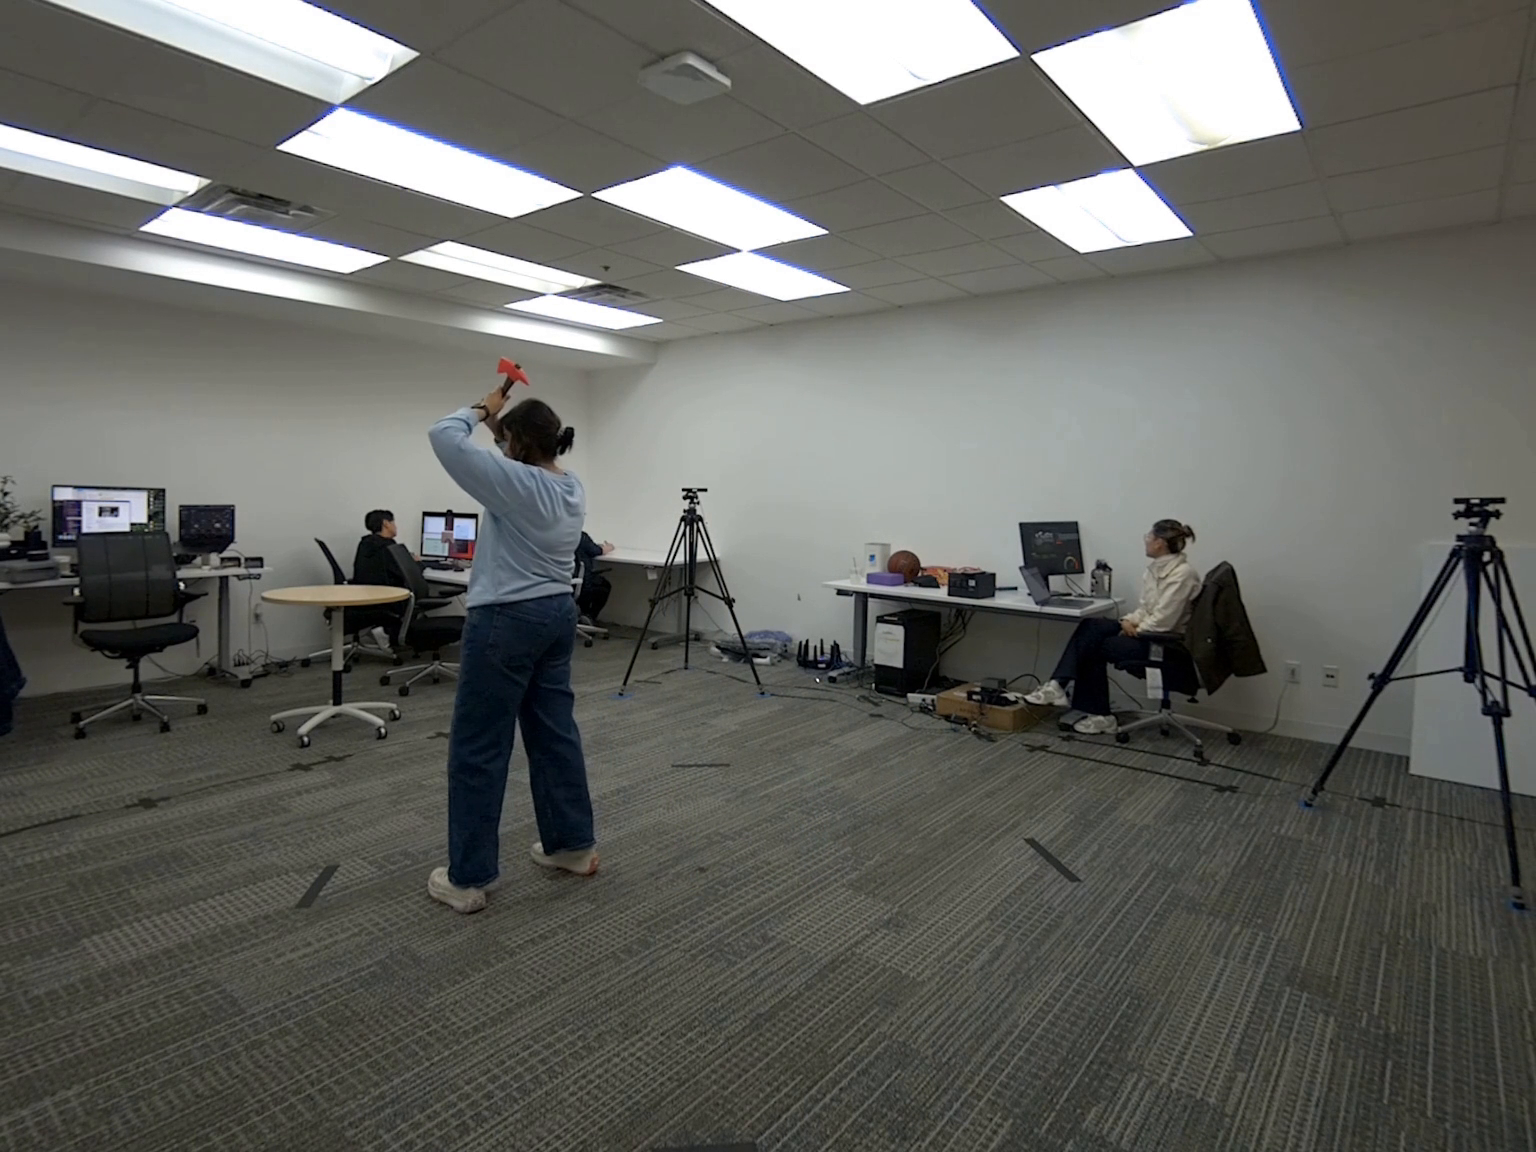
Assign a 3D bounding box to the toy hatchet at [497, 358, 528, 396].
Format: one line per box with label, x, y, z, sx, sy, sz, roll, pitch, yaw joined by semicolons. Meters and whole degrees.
toy hatchet;-0.965;-0.666;2.953;0.274;0.130;0.029;-25;7;28
